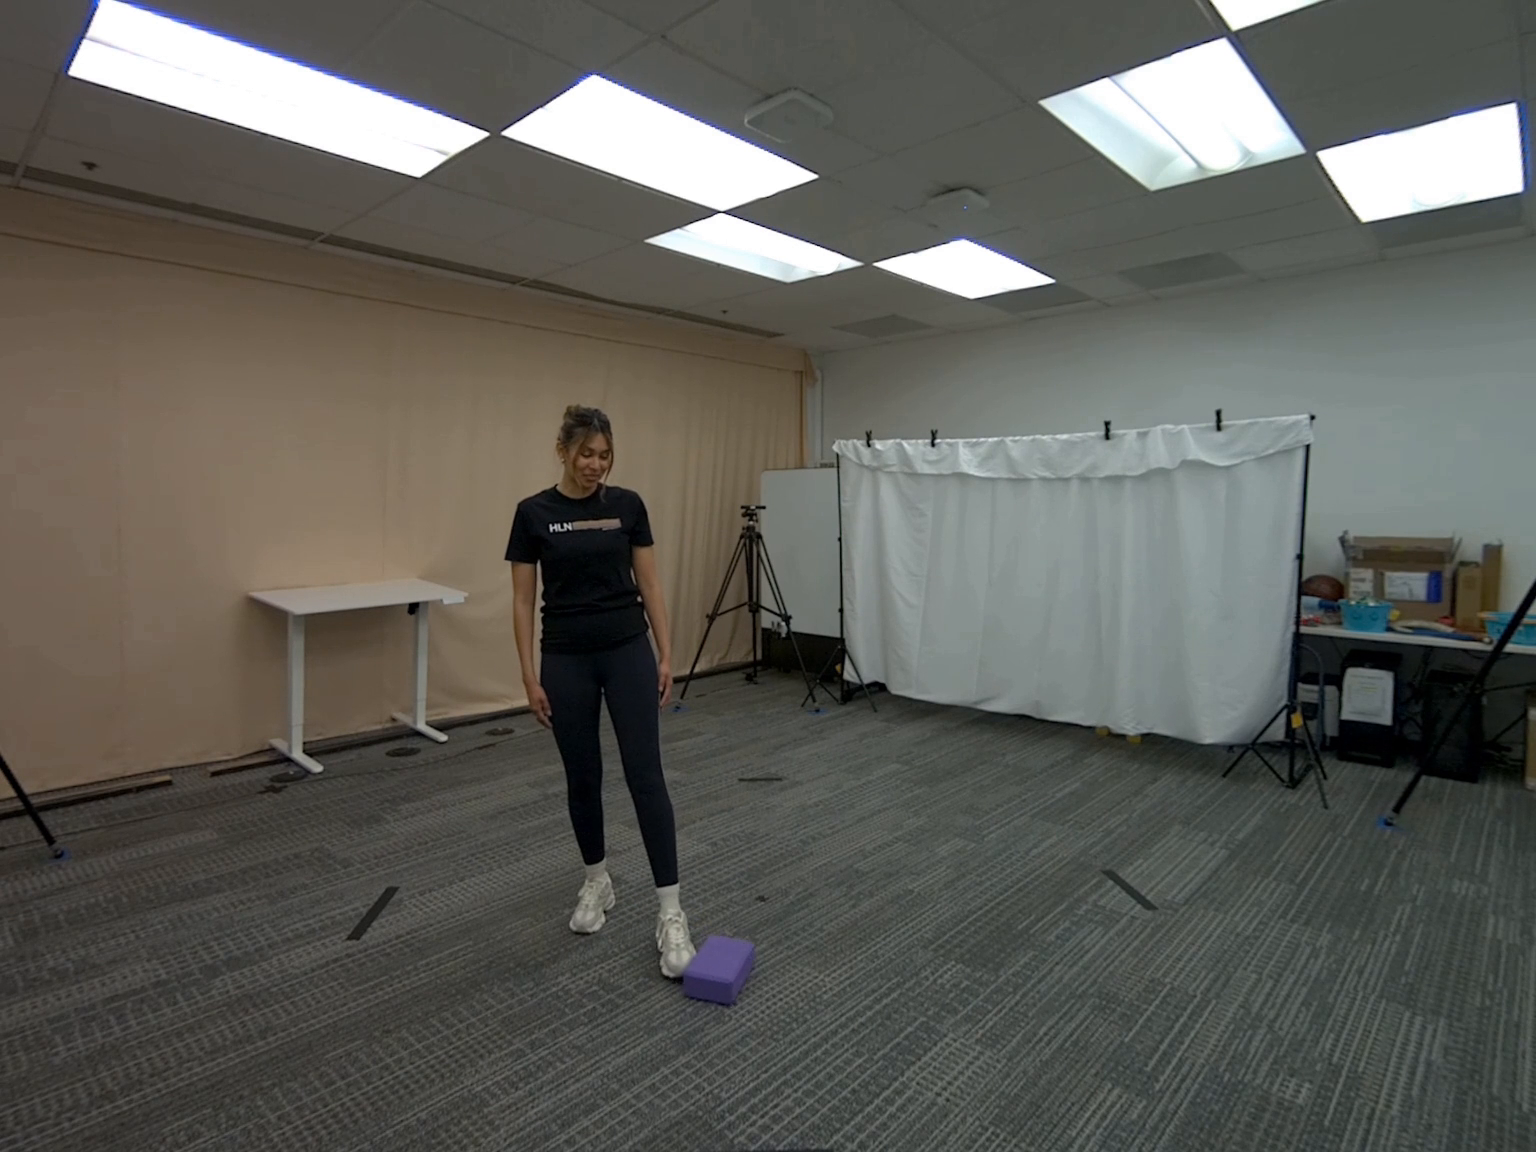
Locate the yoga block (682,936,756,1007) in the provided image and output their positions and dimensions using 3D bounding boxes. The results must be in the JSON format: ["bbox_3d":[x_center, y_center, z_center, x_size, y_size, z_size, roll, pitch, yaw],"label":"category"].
[{"bbox_3d":[-0.135,1.147,2.460,0.152,0.076,0.225,2,4,18],"label":"yoga block"}]
